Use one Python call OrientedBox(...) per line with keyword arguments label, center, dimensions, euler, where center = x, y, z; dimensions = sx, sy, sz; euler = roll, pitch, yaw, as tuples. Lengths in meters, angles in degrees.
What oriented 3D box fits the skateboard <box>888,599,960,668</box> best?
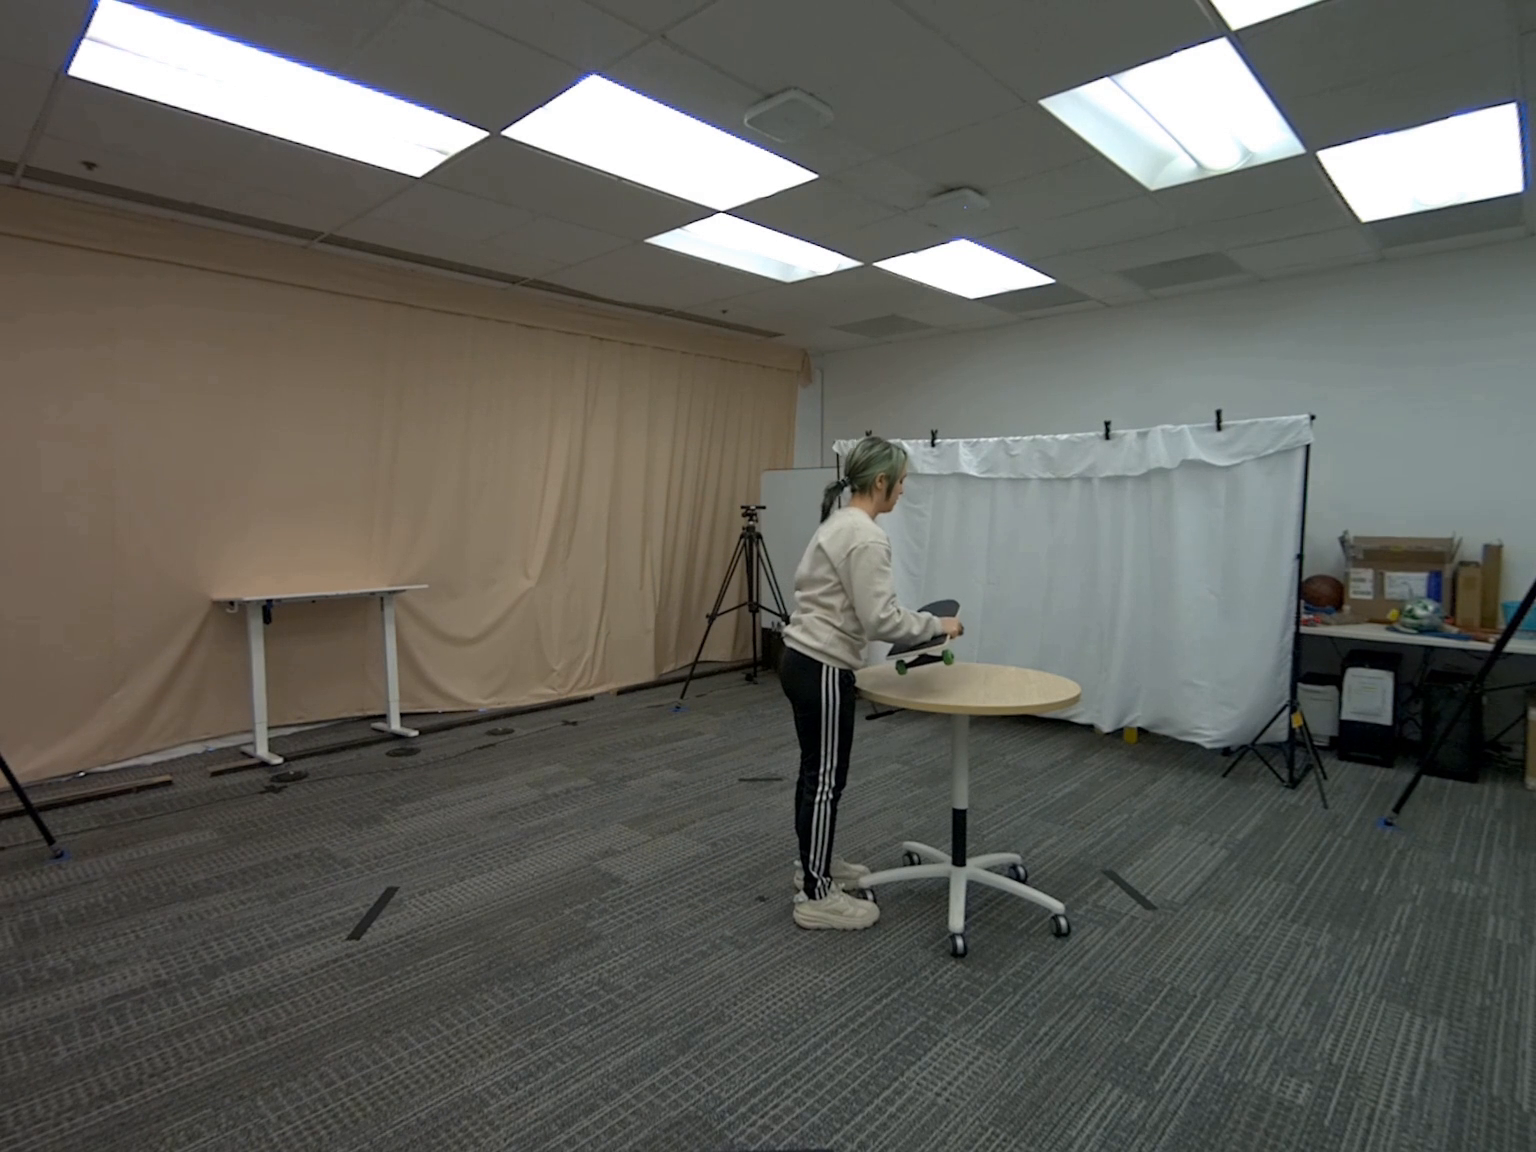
OrientedBox(label="skateboard", center=(0.565, 0.227, 2.913), dimensions=(0.196, 0.110, 0.775), euler=(-16, 6, 19))
